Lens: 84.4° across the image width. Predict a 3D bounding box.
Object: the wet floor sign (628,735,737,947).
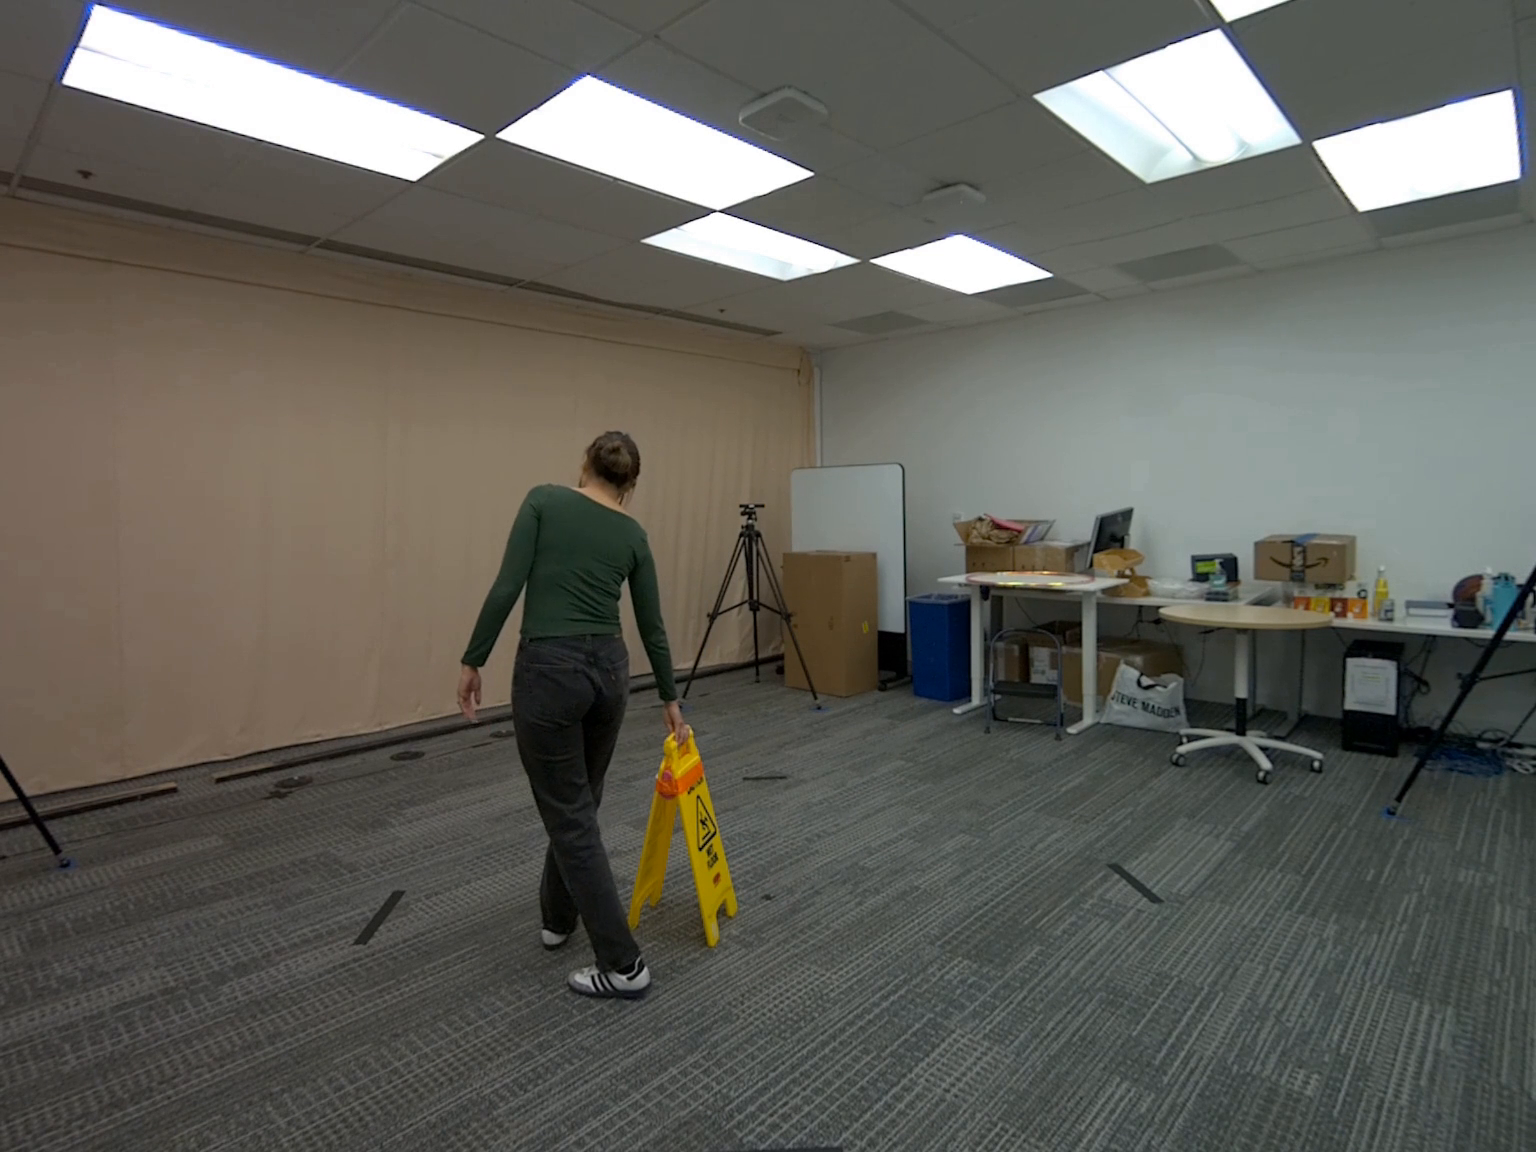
[{"bbox_3d":[-0.286,0.839,2.806,0.295,0.644,0.278,1,5,17],"label":"wet floor sign"}]
